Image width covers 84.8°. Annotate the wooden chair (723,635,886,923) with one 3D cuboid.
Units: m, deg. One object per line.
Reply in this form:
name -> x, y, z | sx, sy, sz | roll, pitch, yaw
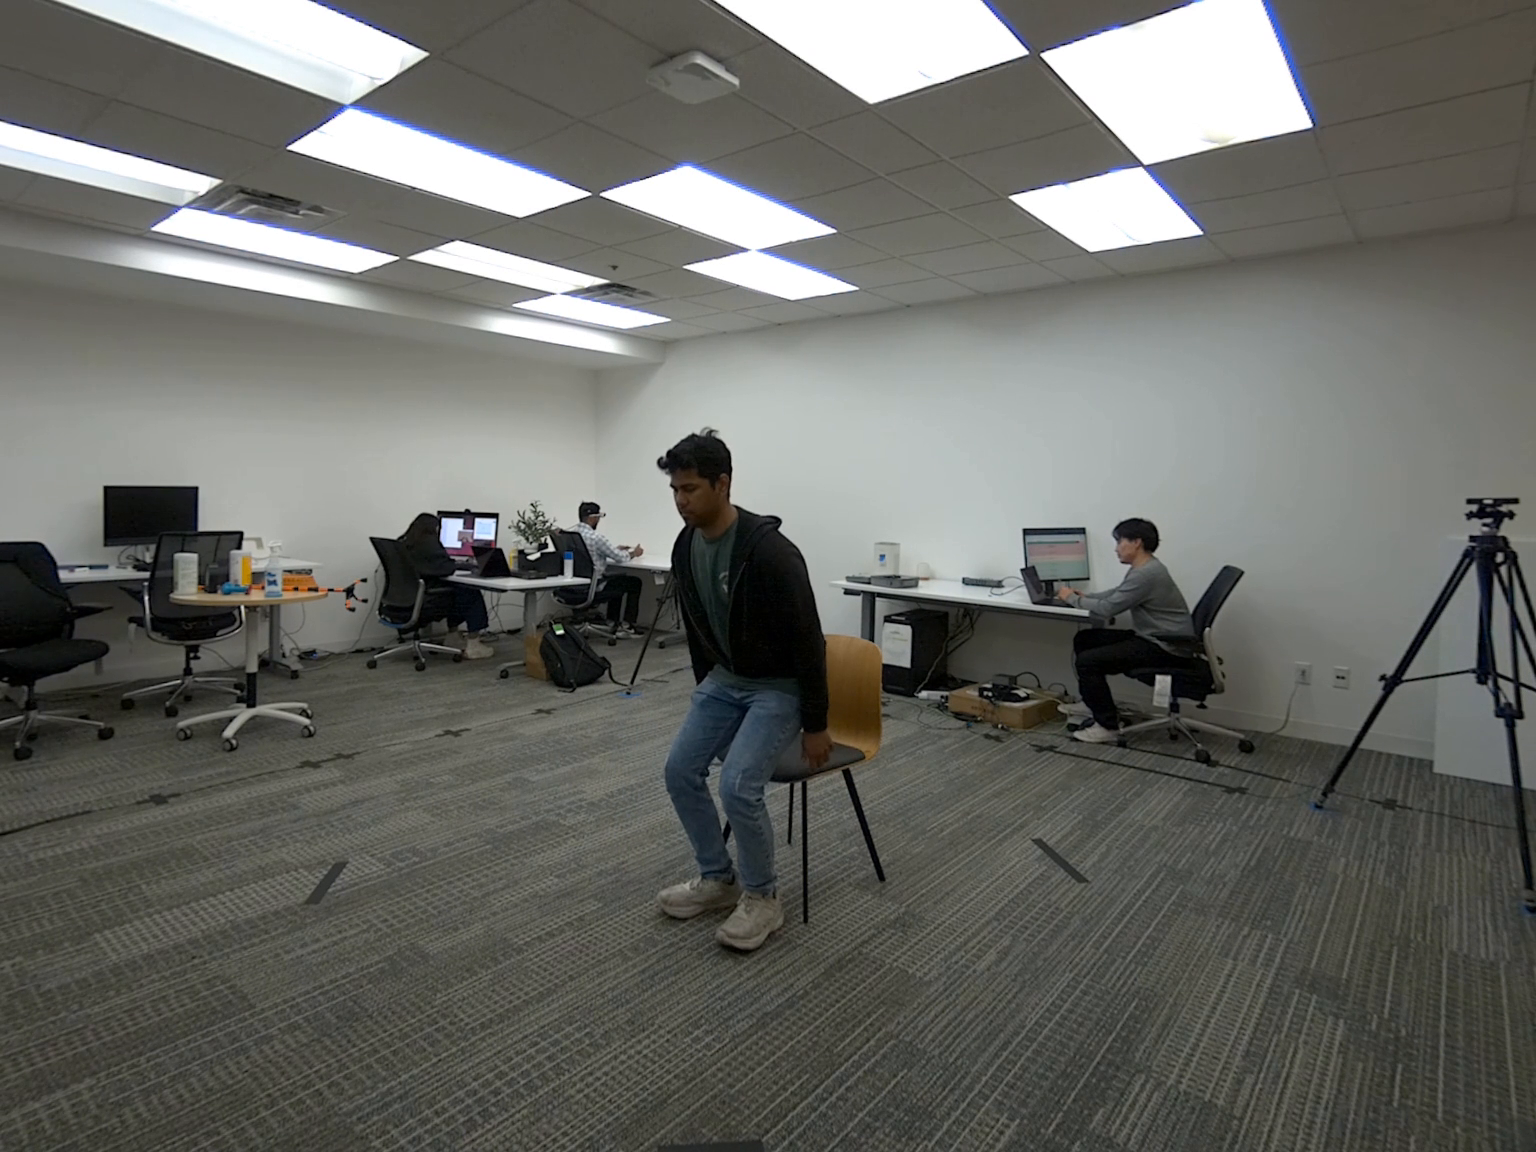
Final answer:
wooden chair -> 0.101, 0.654, 3.010 | 0.494, 0.877, 0.506 | 5, 1, 44
